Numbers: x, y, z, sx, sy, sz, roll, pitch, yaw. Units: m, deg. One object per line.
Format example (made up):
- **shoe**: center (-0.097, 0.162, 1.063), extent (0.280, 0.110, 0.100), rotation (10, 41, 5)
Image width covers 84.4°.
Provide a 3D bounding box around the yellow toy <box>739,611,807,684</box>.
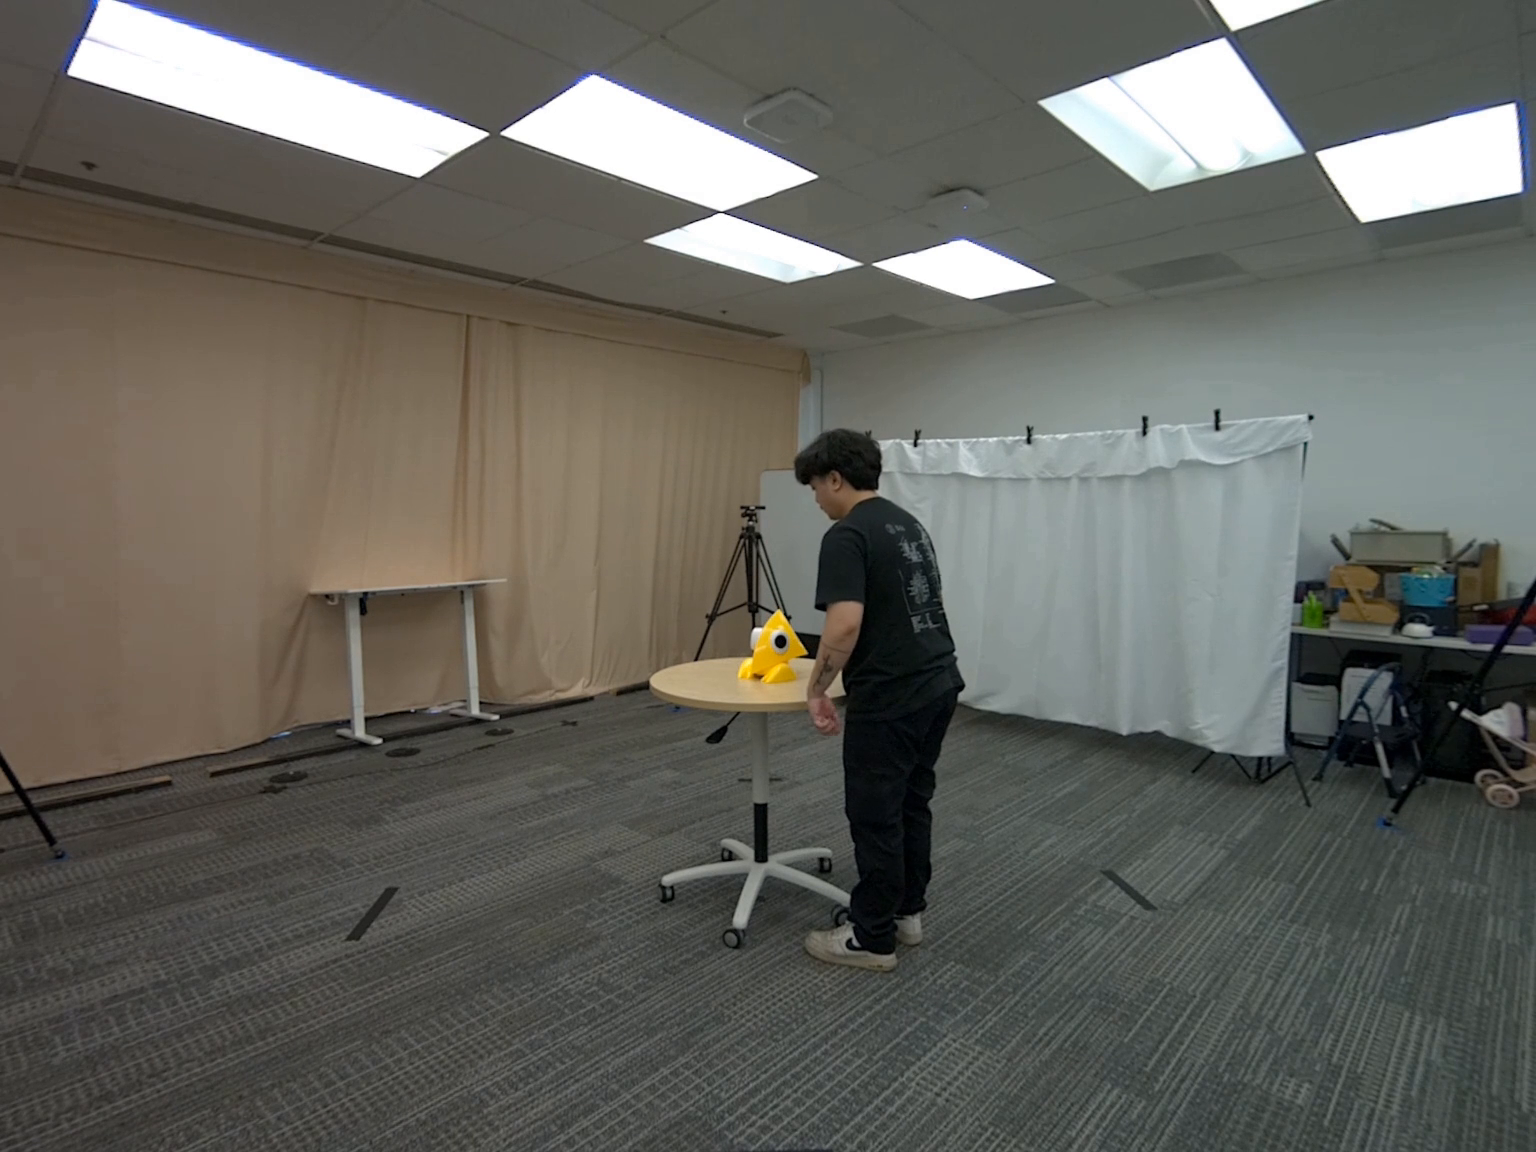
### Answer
- **yellow toy**: center (0.002, 0.240, 2.940), extent (0.211, 0.230, 0.187), rotation (3, 6, 41)
